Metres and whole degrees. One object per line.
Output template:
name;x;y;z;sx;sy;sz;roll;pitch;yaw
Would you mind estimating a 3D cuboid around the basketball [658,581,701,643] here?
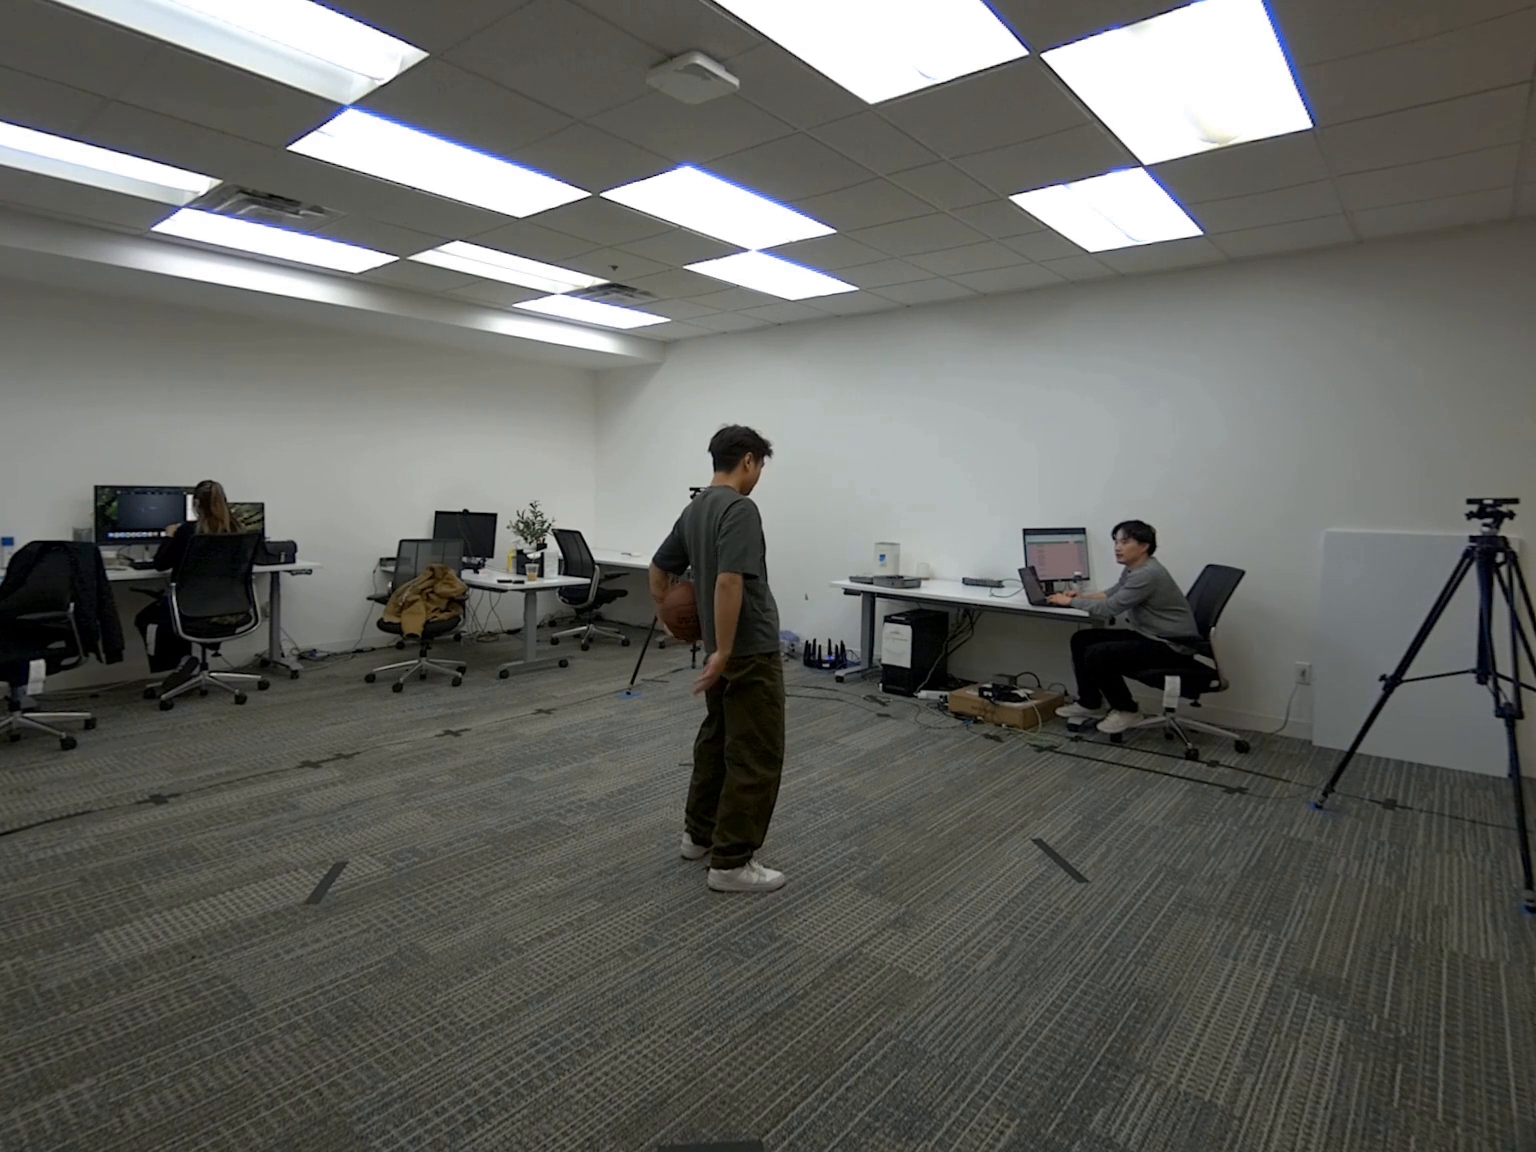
basketball;-0.300;0.135;3.301;0.235;0.235;0.237;1;4;-2
